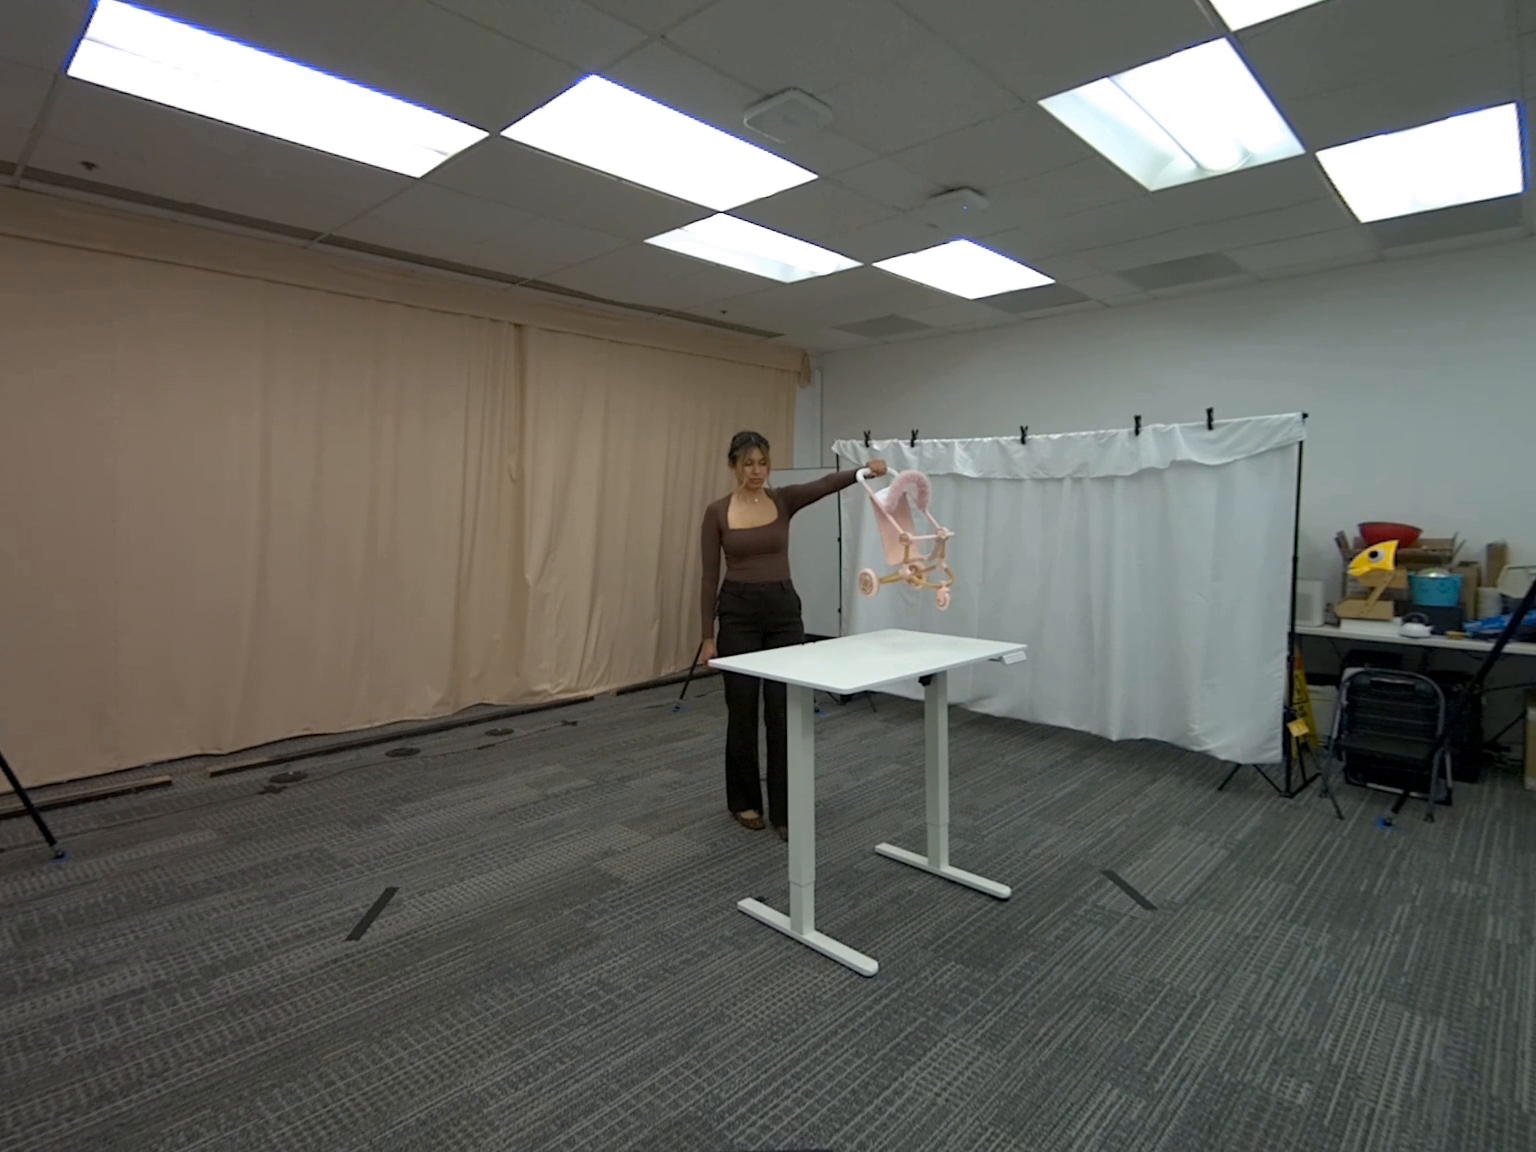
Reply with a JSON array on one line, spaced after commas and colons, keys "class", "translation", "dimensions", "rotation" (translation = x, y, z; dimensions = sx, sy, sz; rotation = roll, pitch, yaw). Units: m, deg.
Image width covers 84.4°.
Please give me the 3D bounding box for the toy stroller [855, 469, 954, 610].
[{"class": "toy stroller", "translation": [0.517, -0.143, 3.070], "dimensions": [0.274, 0.534, 0.350], "rotation": [-6, 2, -30]}]
